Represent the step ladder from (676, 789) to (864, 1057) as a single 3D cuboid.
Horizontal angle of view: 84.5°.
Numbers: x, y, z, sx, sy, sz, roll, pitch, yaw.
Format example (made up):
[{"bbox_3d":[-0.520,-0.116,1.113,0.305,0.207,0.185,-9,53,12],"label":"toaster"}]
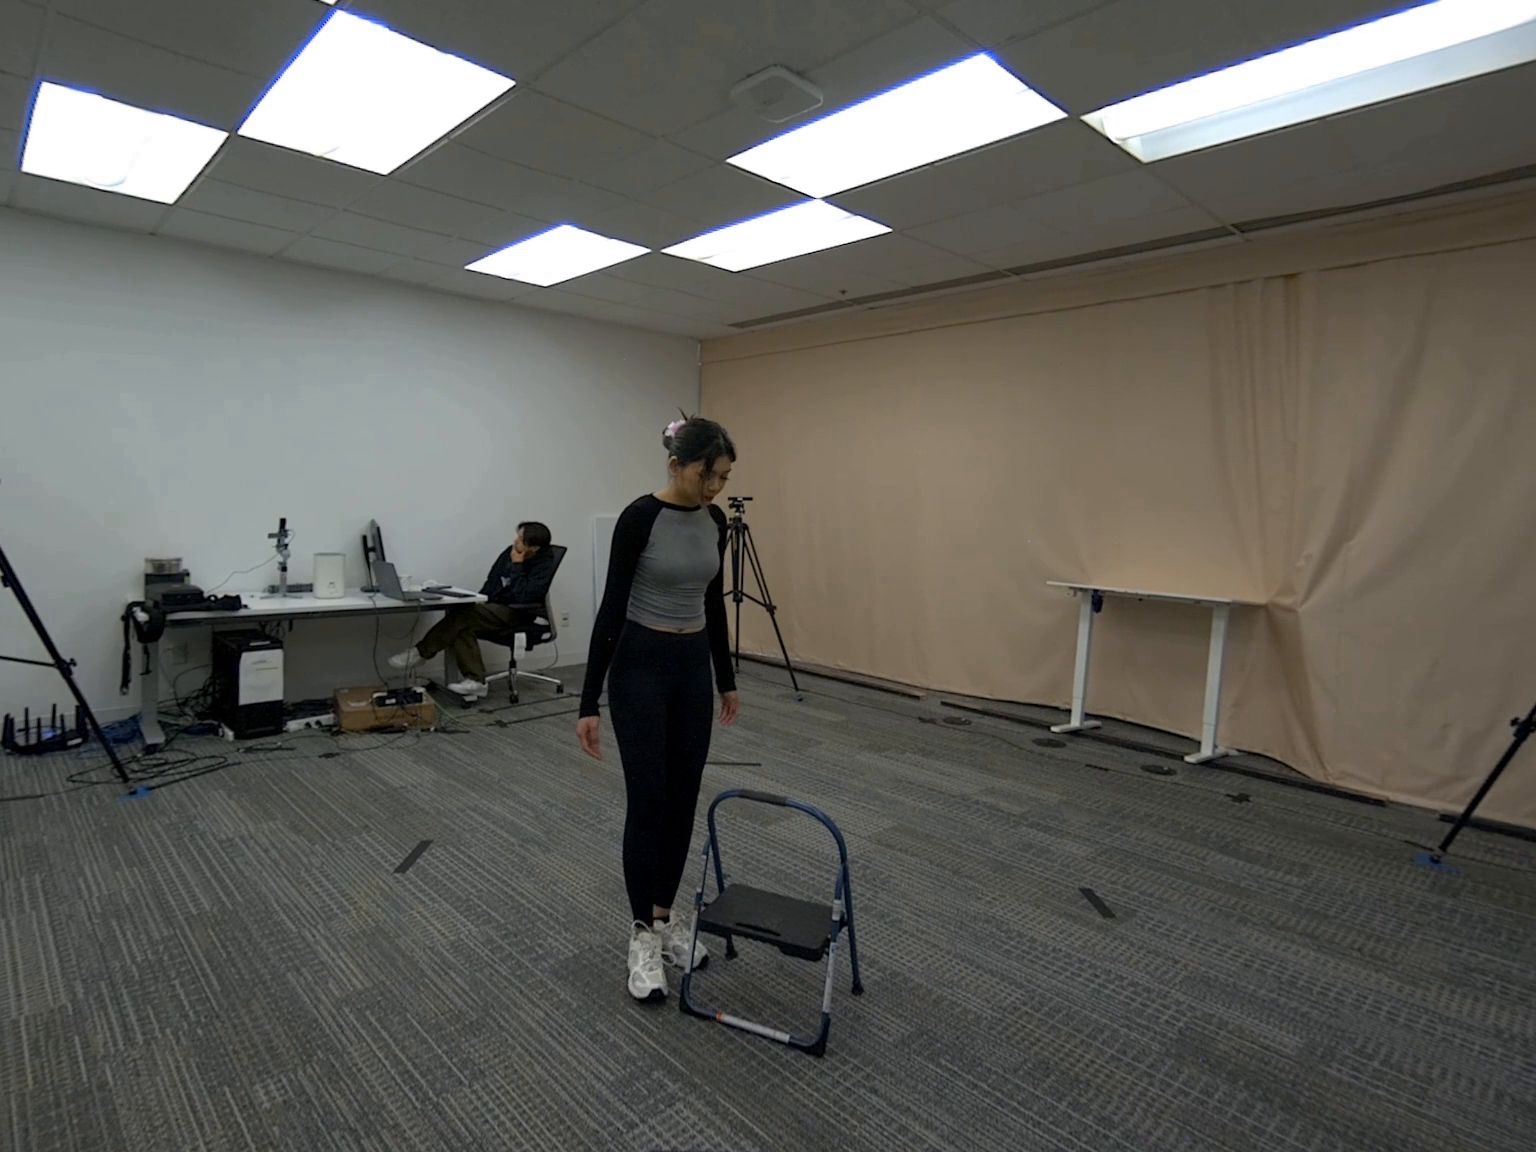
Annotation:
[{"bbox_3d":[0.020,0.883,2.321,0.439,0.605,0.343,3,3,24],"label":"step ladder"}]
